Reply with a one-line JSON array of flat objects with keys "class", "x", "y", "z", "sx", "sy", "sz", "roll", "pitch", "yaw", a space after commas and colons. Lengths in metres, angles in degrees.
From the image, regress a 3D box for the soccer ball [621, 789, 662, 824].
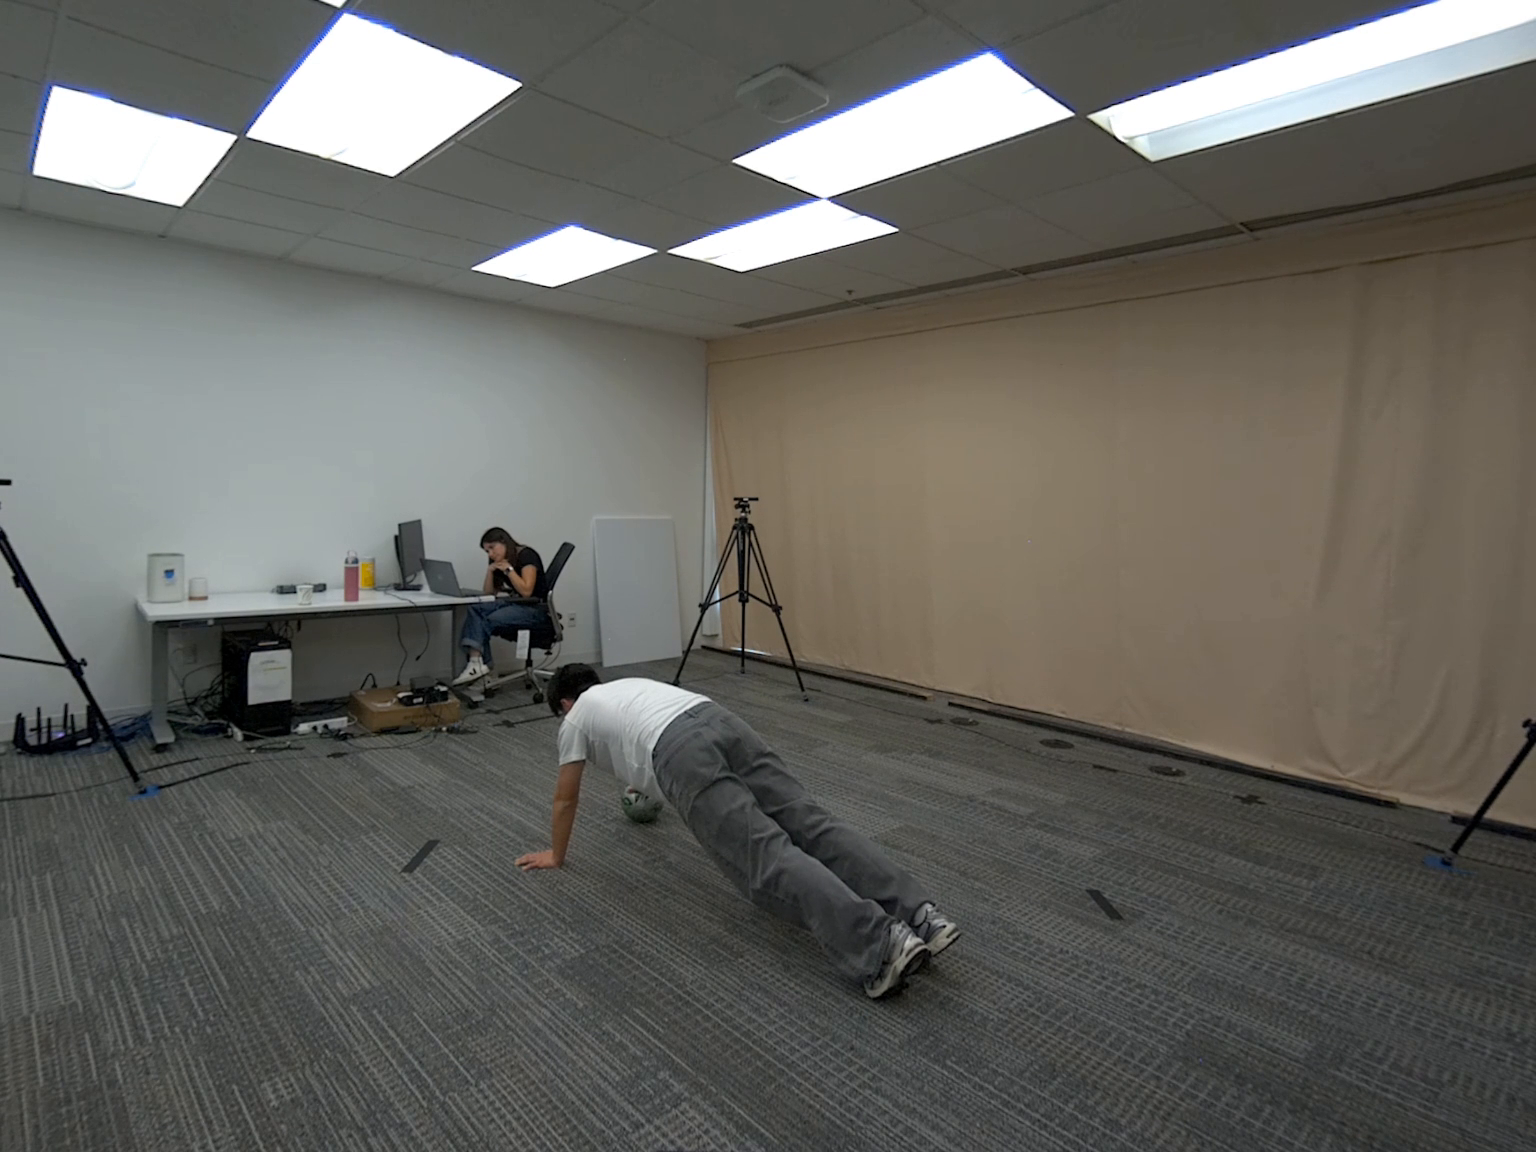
[{"class": "soccer ball", "x": -0.551, "y": 0.966, "z": 3.620, "sx": 0.187, "sy": 0.187, "sz": 0.188, "roll": 1, "pitch": 4, "yaw": -1}]
